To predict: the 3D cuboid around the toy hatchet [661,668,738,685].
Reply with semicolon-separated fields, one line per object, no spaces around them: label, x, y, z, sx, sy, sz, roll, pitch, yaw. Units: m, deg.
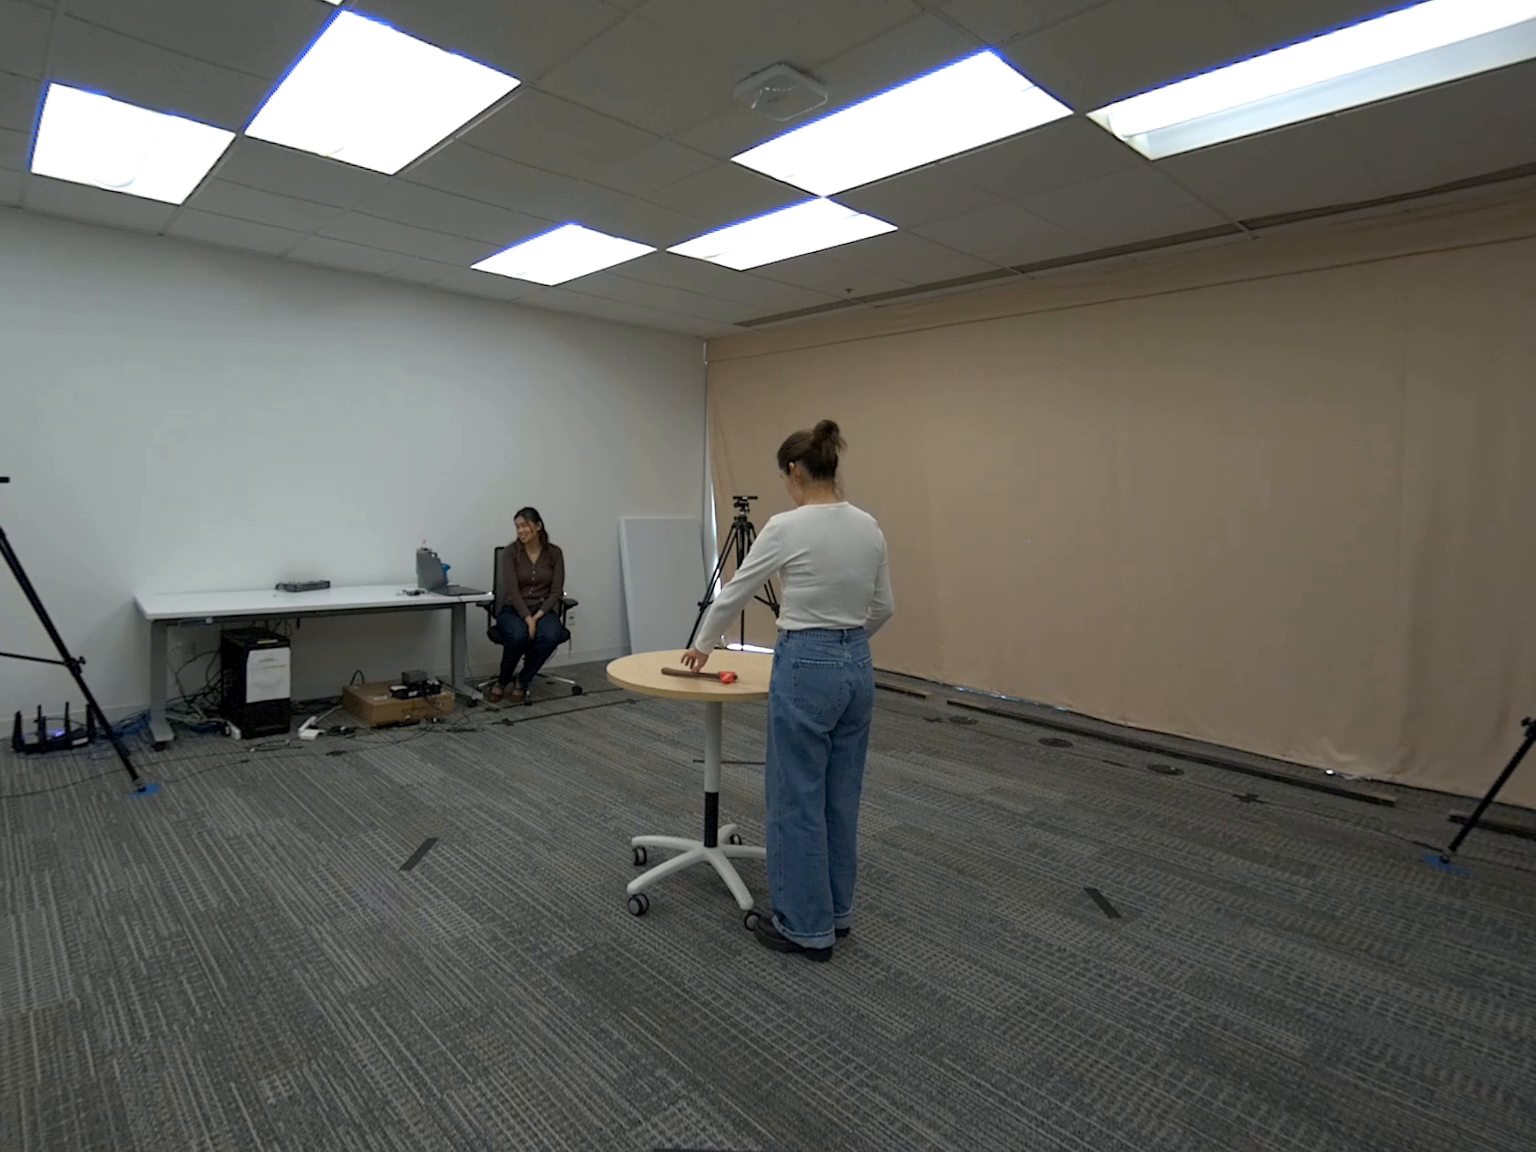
toy hatchet;-0.222;0.331;2.837;0.276;0.029;0.128;1;5;31
